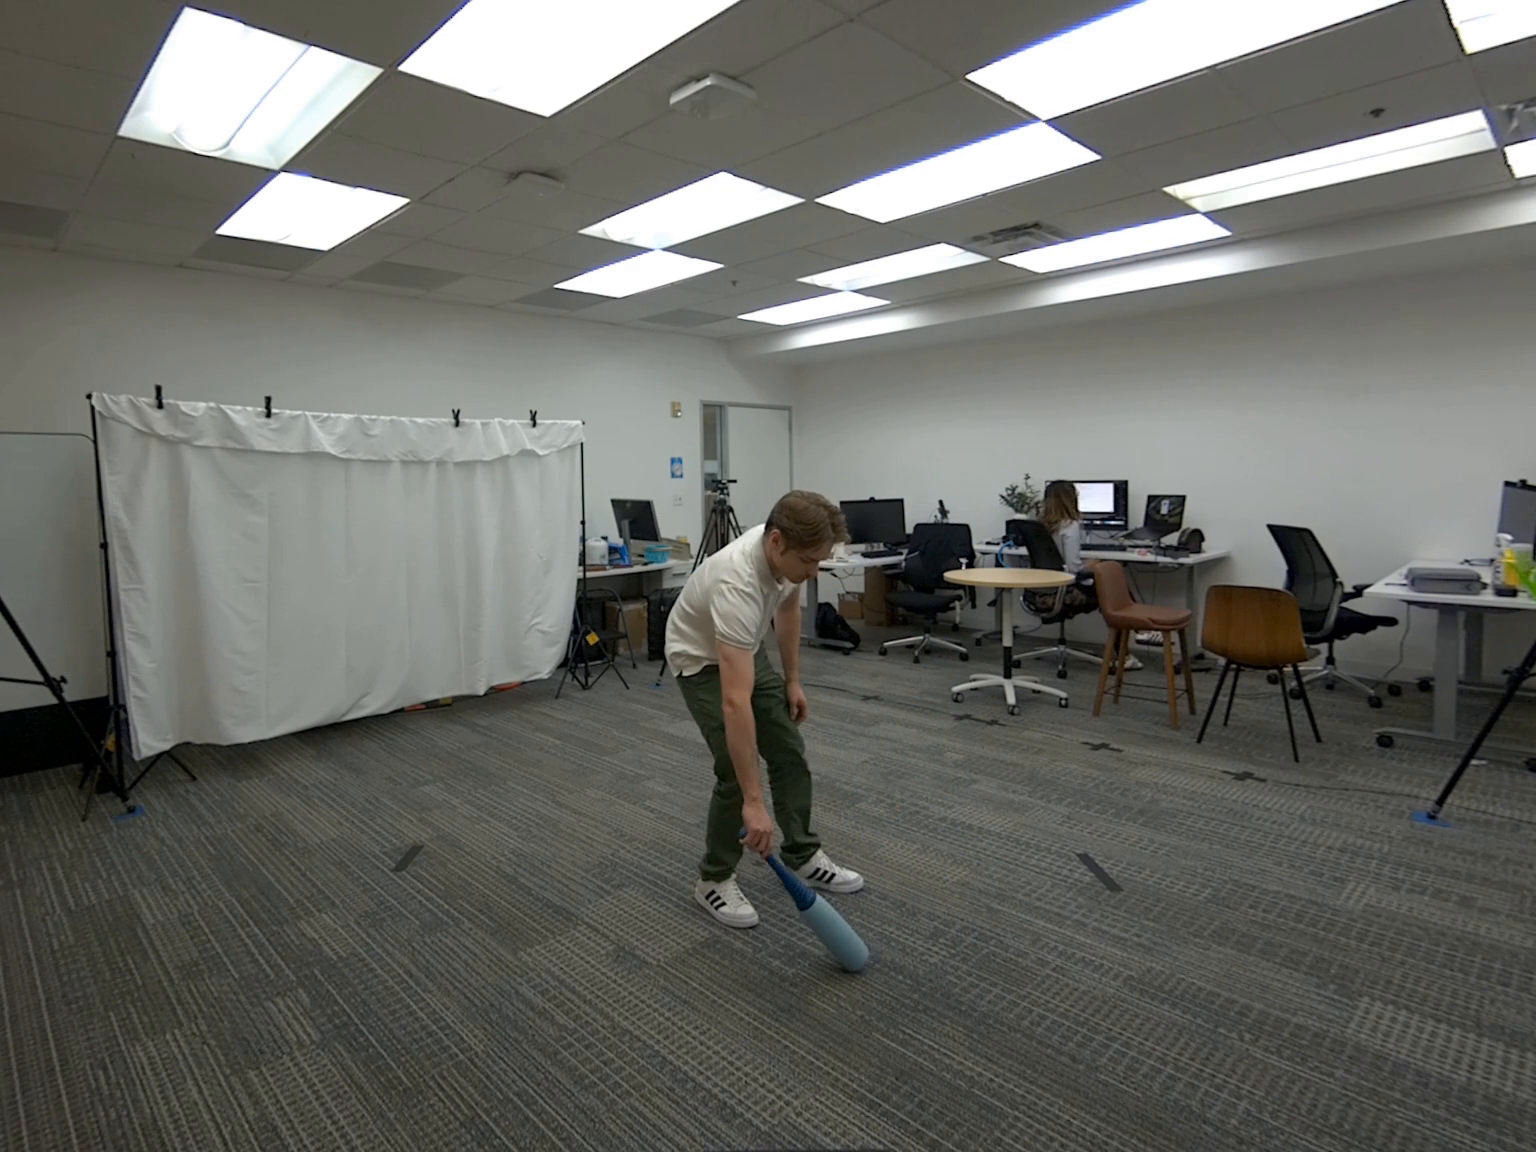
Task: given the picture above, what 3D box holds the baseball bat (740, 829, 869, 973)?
[{"bbox_3d":[0.103,0.904,2.388,0.089,0.534,0.090,-37,12,9],"label":"baseball bat"}]
